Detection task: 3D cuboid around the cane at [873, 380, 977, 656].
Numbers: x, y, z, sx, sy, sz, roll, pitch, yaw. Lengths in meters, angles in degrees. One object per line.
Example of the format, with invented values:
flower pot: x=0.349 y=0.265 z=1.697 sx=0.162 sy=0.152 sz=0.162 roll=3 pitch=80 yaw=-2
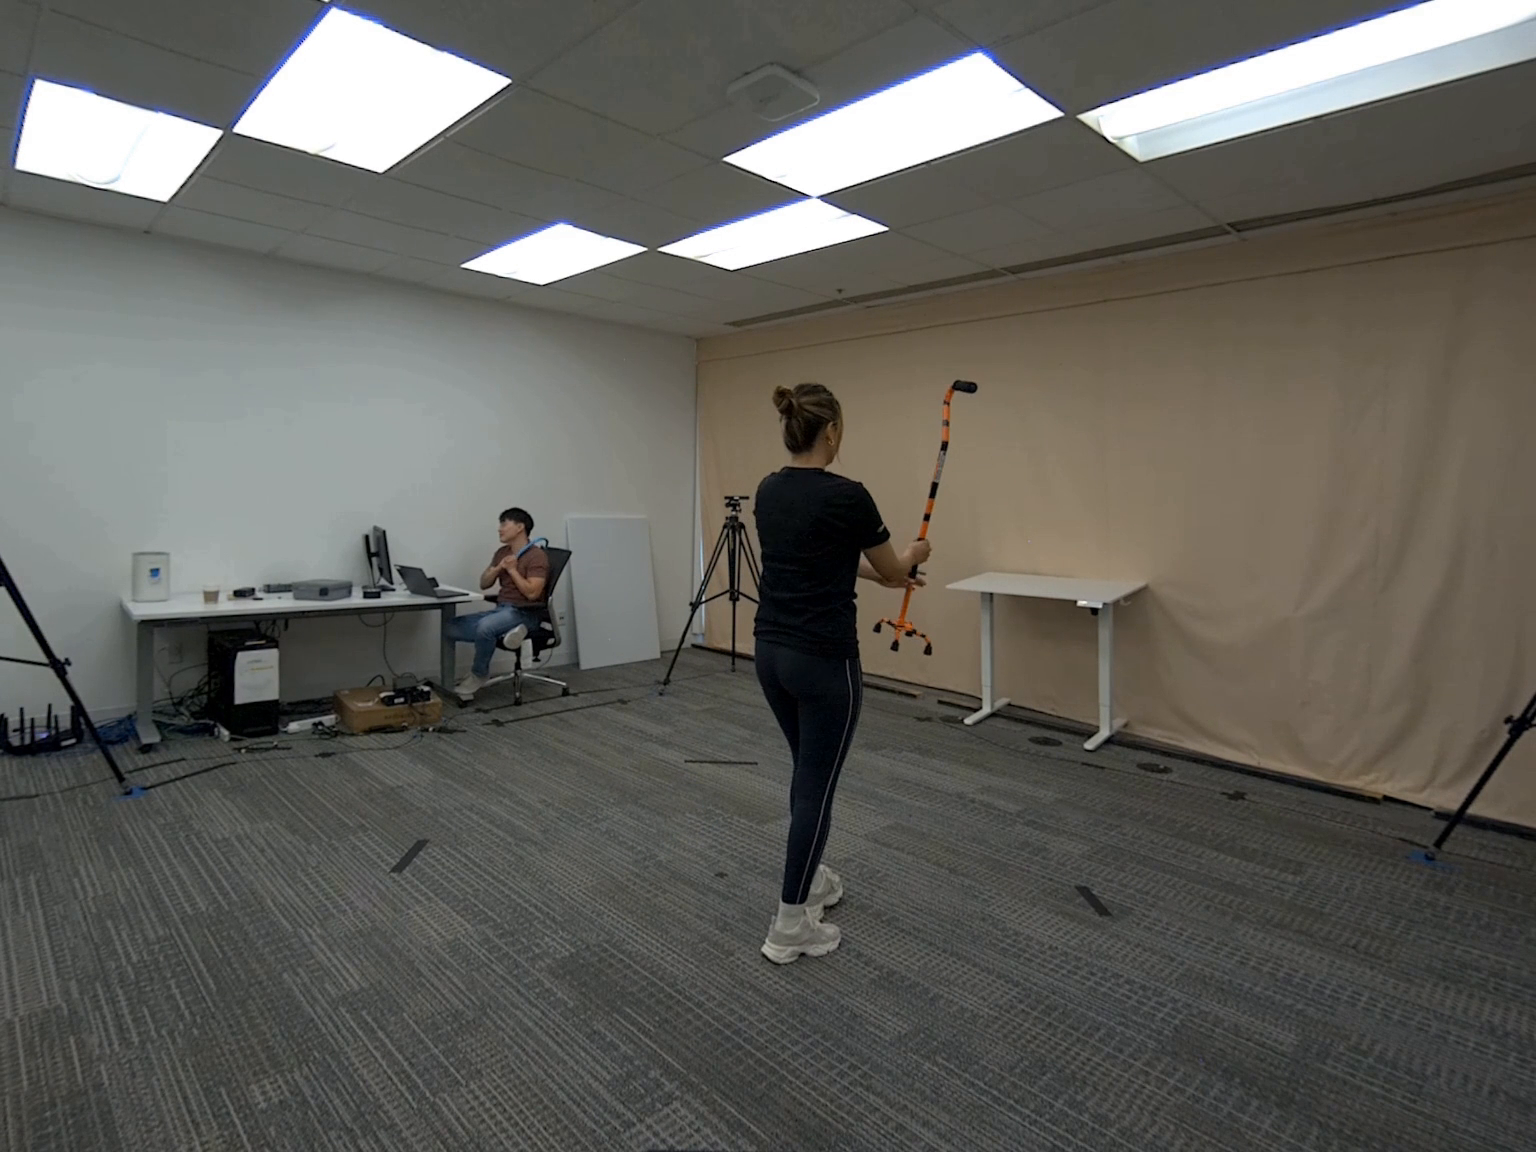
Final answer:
cane: x=0.539 y=-0.203 z=2.830 sx=0.150 sy=0.901 sz=0.210 roll=9 pitch=13 yaw=-12
